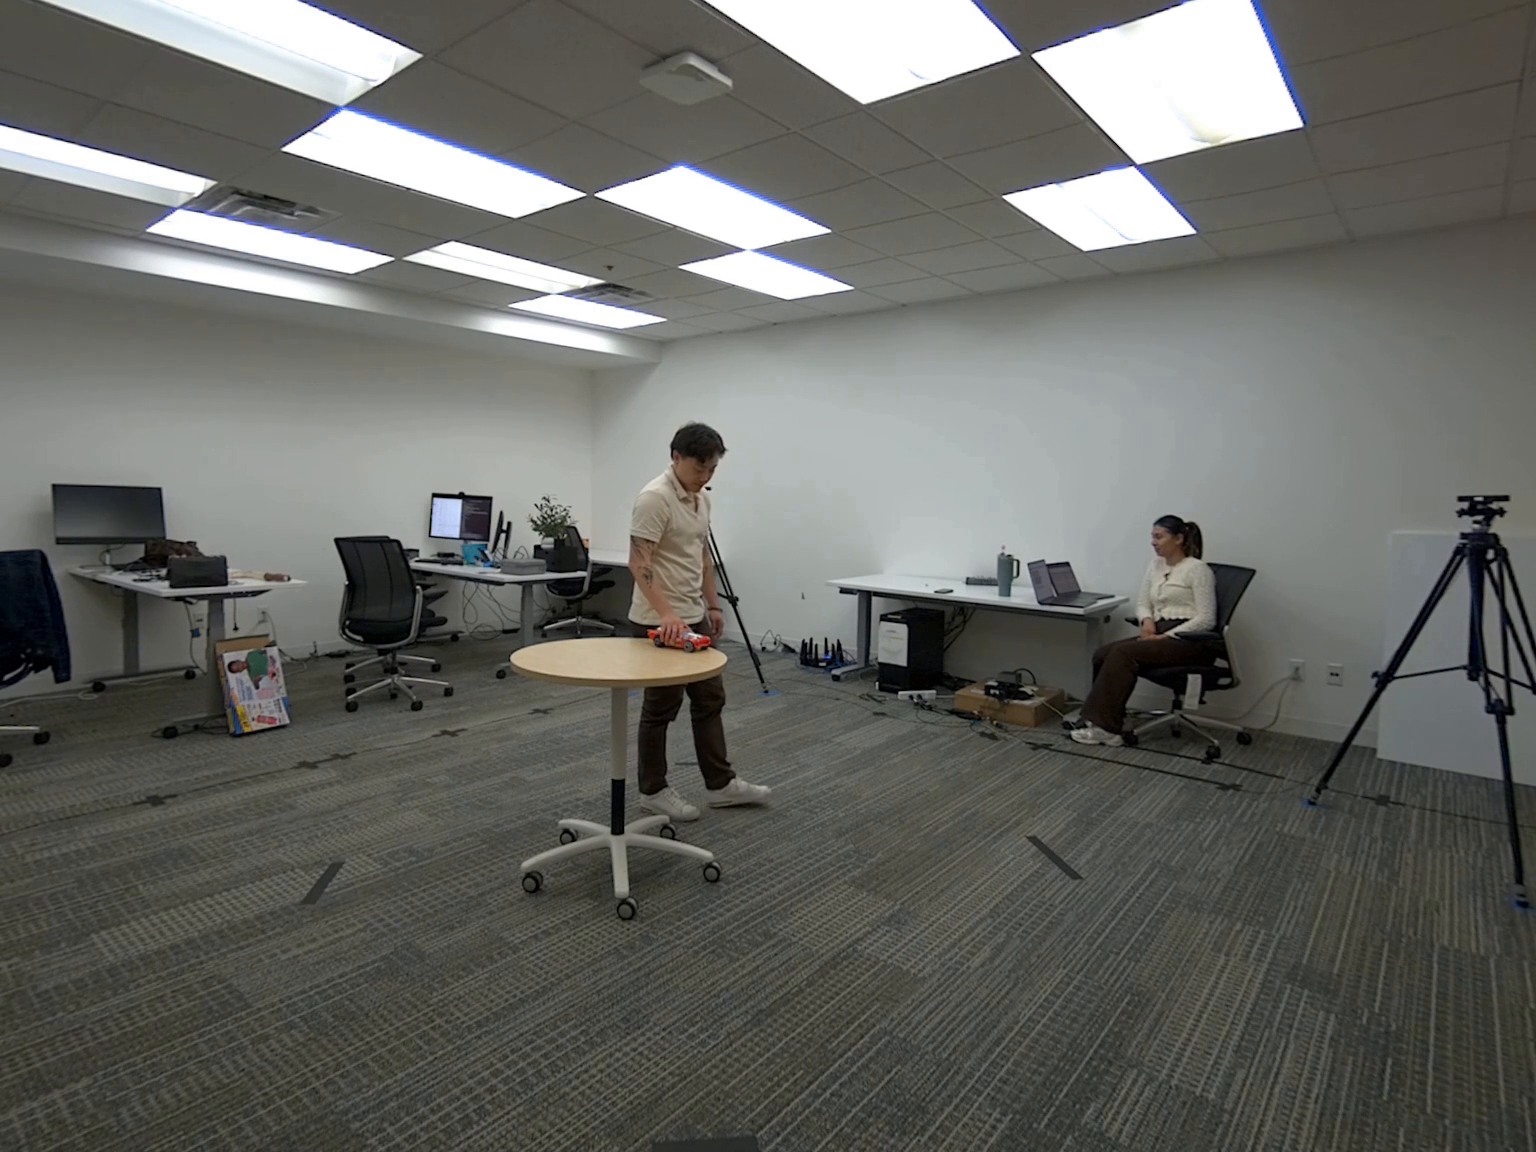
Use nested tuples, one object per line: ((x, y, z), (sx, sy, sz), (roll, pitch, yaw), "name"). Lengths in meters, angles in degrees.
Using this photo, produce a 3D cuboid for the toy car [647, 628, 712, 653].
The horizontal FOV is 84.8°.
((-0.358, 0.239, 3.240), (0.264, 0.082, 0.127), (17, 13, 33), "toy car")
